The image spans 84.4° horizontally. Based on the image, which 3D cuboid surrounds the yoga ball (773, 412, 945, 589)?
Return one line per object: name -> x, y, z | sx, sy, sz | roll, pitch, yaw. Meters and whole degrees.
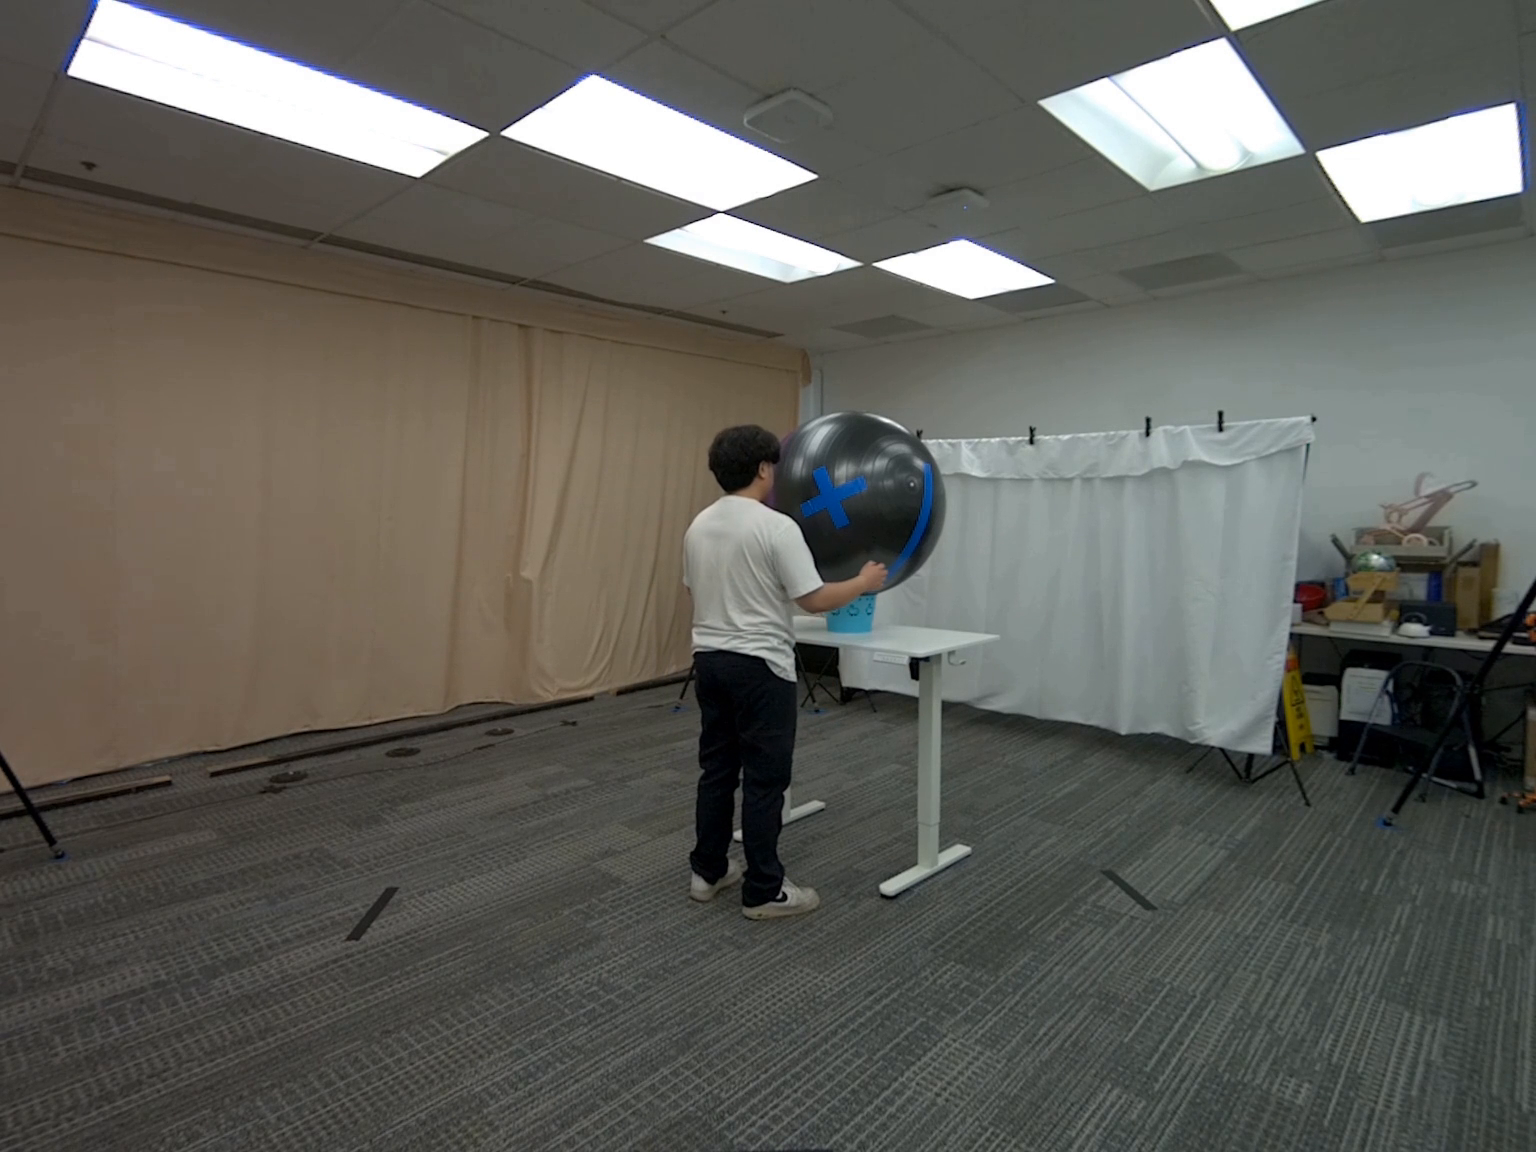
yoga ball -> 0.335, -0.279, 3.437 | 0.757, 0.756, 0.760 | 0, 4, -2
